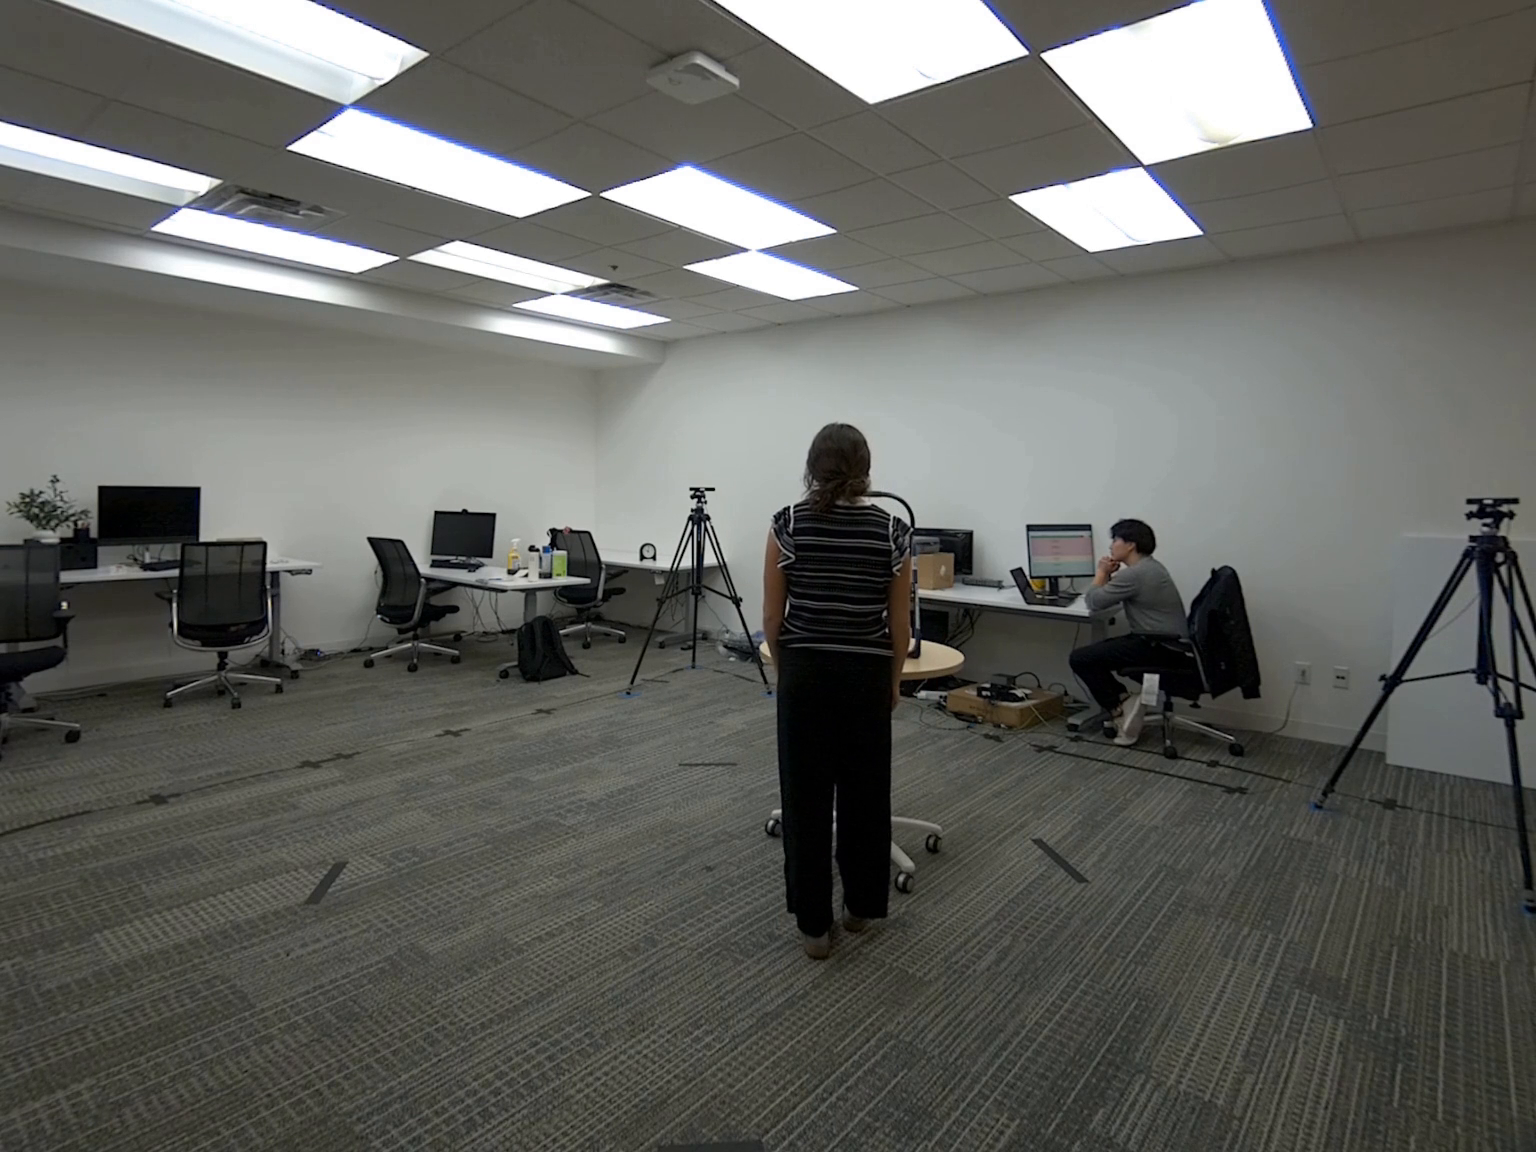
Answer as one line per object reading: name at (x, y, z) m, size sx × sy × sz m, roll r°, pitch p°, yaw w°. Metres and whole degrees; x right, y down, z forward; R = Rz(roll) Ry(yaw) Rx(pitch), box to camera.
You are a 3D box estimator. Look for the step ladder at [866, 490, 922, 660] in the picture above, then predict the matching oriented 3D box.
step ladder at (0.336, -0.015, 3.258) m, size 0.429 × 0.603 × 0.352 m, roll -2°, pitch 5°, yaw -3°
